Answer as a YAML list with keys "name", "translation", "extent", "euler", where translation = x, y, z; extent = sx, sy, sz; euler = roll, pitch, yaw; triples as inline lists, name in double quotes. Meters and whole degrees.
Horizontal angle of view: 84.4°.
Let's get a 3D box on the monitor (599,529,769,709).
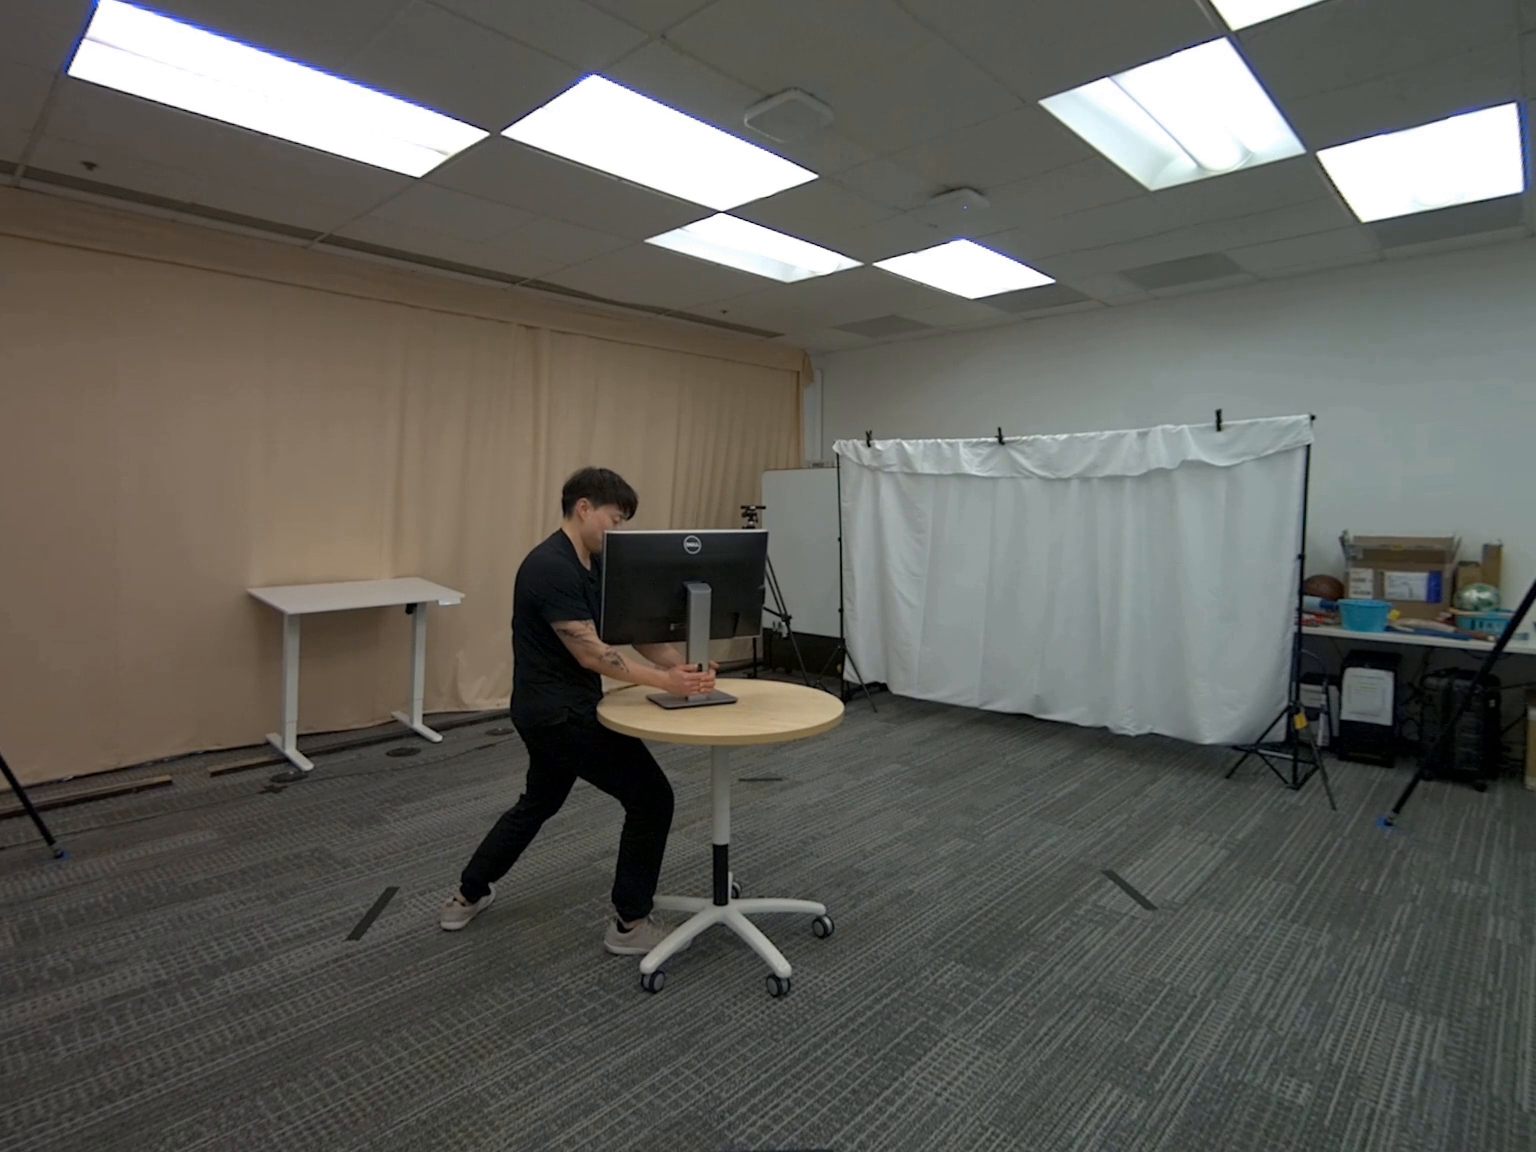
- name: "monitor"
  translation: [-0.241, 0.130, 2.647]
  extent: [0.526, 0.522, 0.192]
  euler: [-2, 2, -25]
